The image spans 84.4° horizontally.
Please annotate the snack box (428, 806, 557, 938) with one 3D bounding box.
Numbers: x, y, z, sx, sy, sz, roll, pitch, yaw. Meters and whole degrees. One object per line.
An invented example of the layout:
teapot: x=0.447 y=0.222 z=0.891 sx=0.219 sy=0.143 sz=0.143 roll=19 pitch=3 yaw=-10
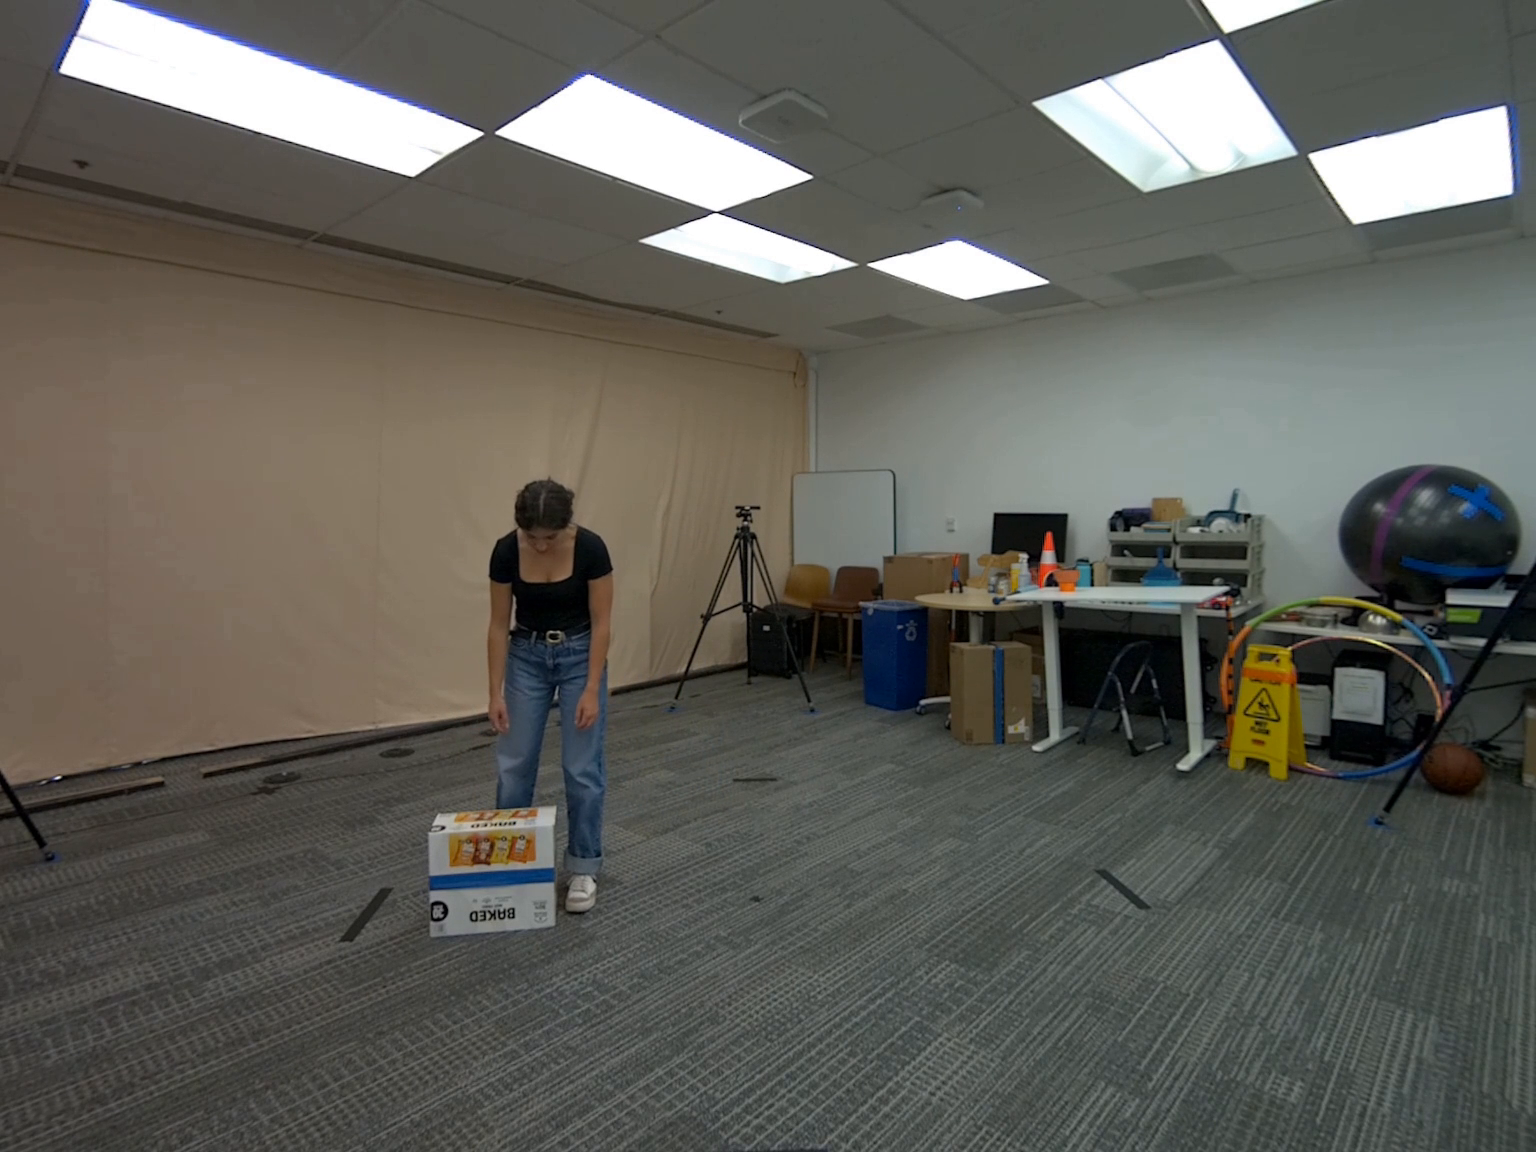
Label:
snack box: x=-0.927 y=0.992 z=2.853 sx=0.401 sy=0.340 sz=0.208 roll=-1 pitch=1 yaw=-9
